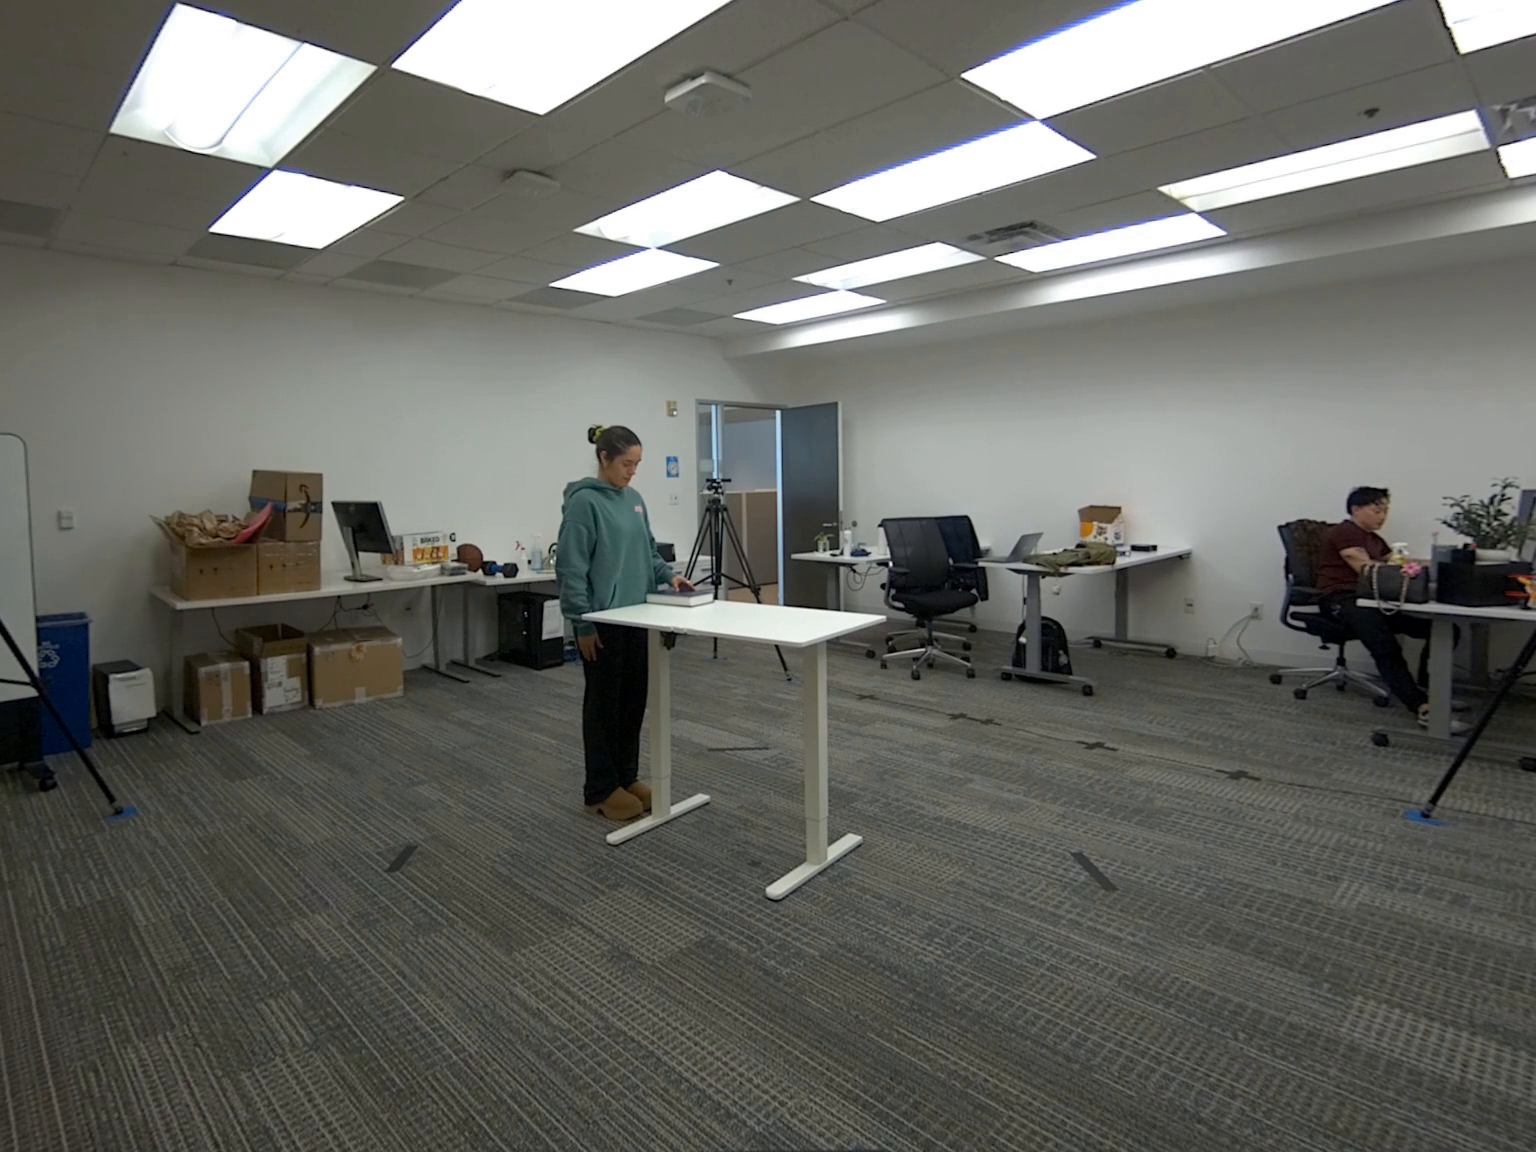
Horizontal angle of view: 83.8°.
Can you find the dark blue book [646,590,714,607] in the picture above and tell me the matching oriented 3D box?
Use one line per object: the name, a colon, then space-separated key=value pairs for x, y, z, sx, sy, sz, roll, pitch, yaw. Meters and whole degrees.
dark blue book: x=-0.382 y=0.096 z=3.590 sx=0.252 sy=0.045 sz=0.159 roll=2 pitch=5 yaw=32
